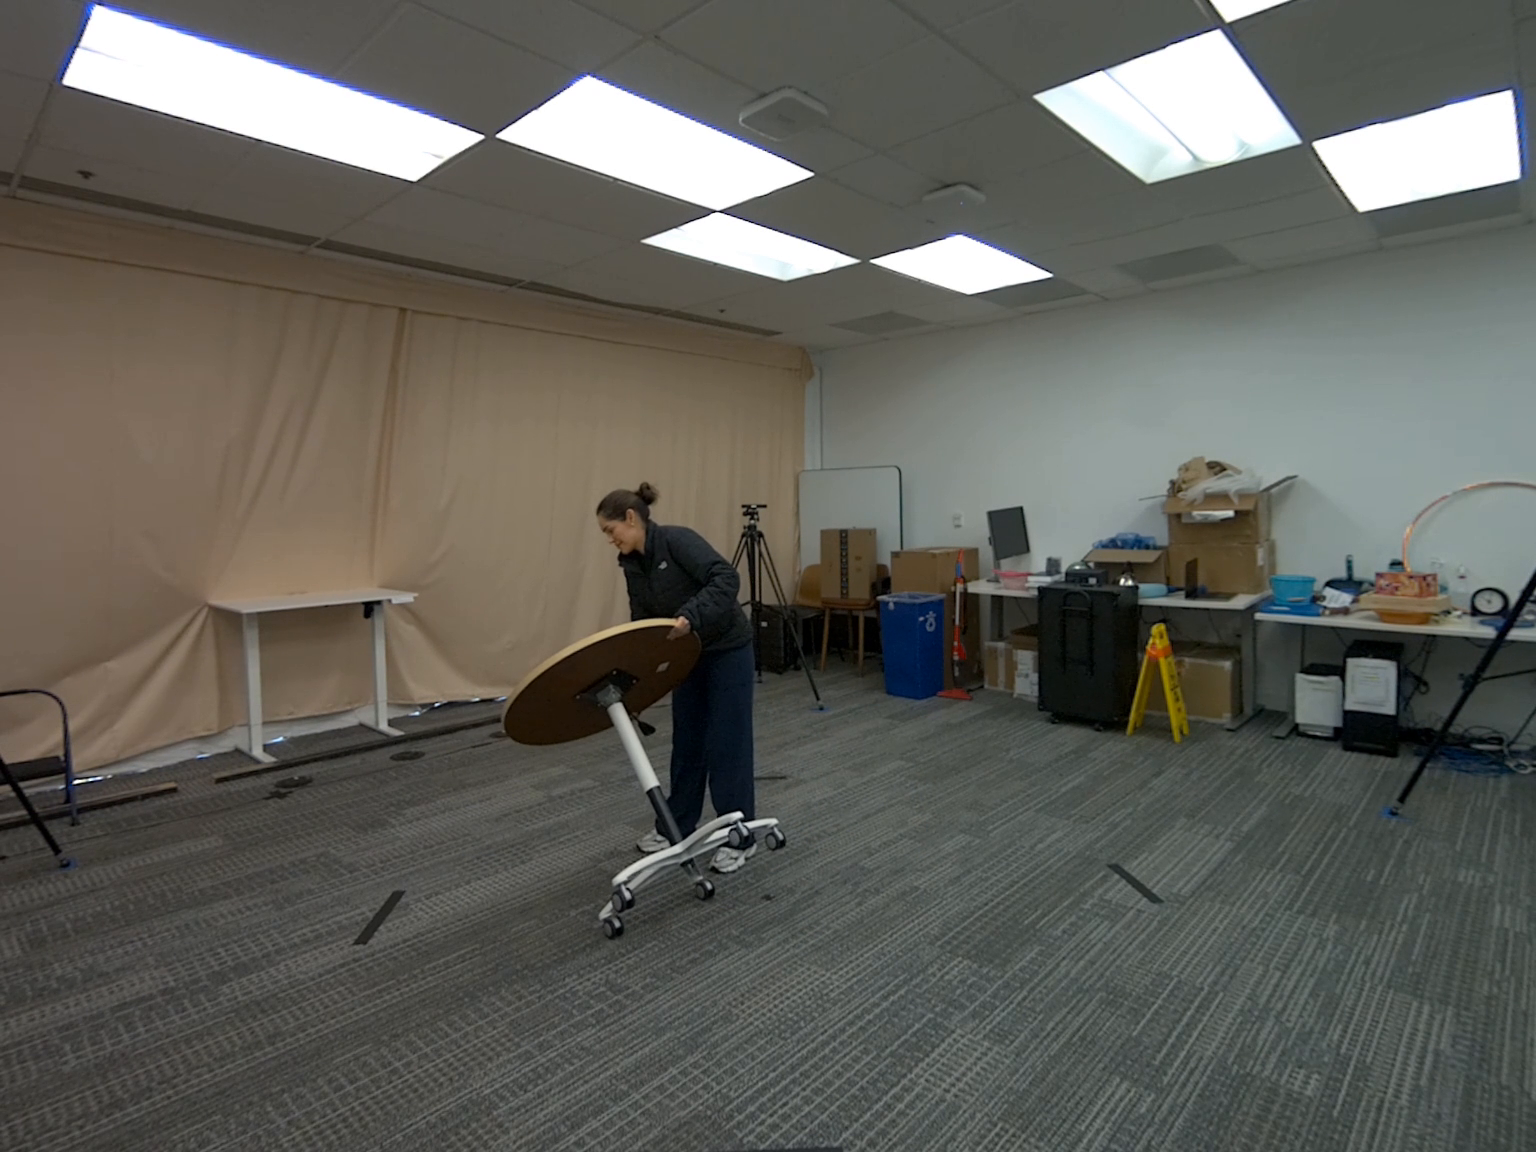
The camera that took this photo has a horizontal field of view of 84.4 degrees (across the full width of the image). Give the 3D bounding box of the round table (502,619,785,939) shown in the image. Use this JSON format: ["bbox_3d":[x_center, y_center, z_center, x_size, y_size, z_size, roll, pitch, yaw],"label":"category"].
[{"bbox_3d":[-0.396,0.689,2.886,0.777,0.807,0.773,-24,-27,-15],"label":"round table"}]
